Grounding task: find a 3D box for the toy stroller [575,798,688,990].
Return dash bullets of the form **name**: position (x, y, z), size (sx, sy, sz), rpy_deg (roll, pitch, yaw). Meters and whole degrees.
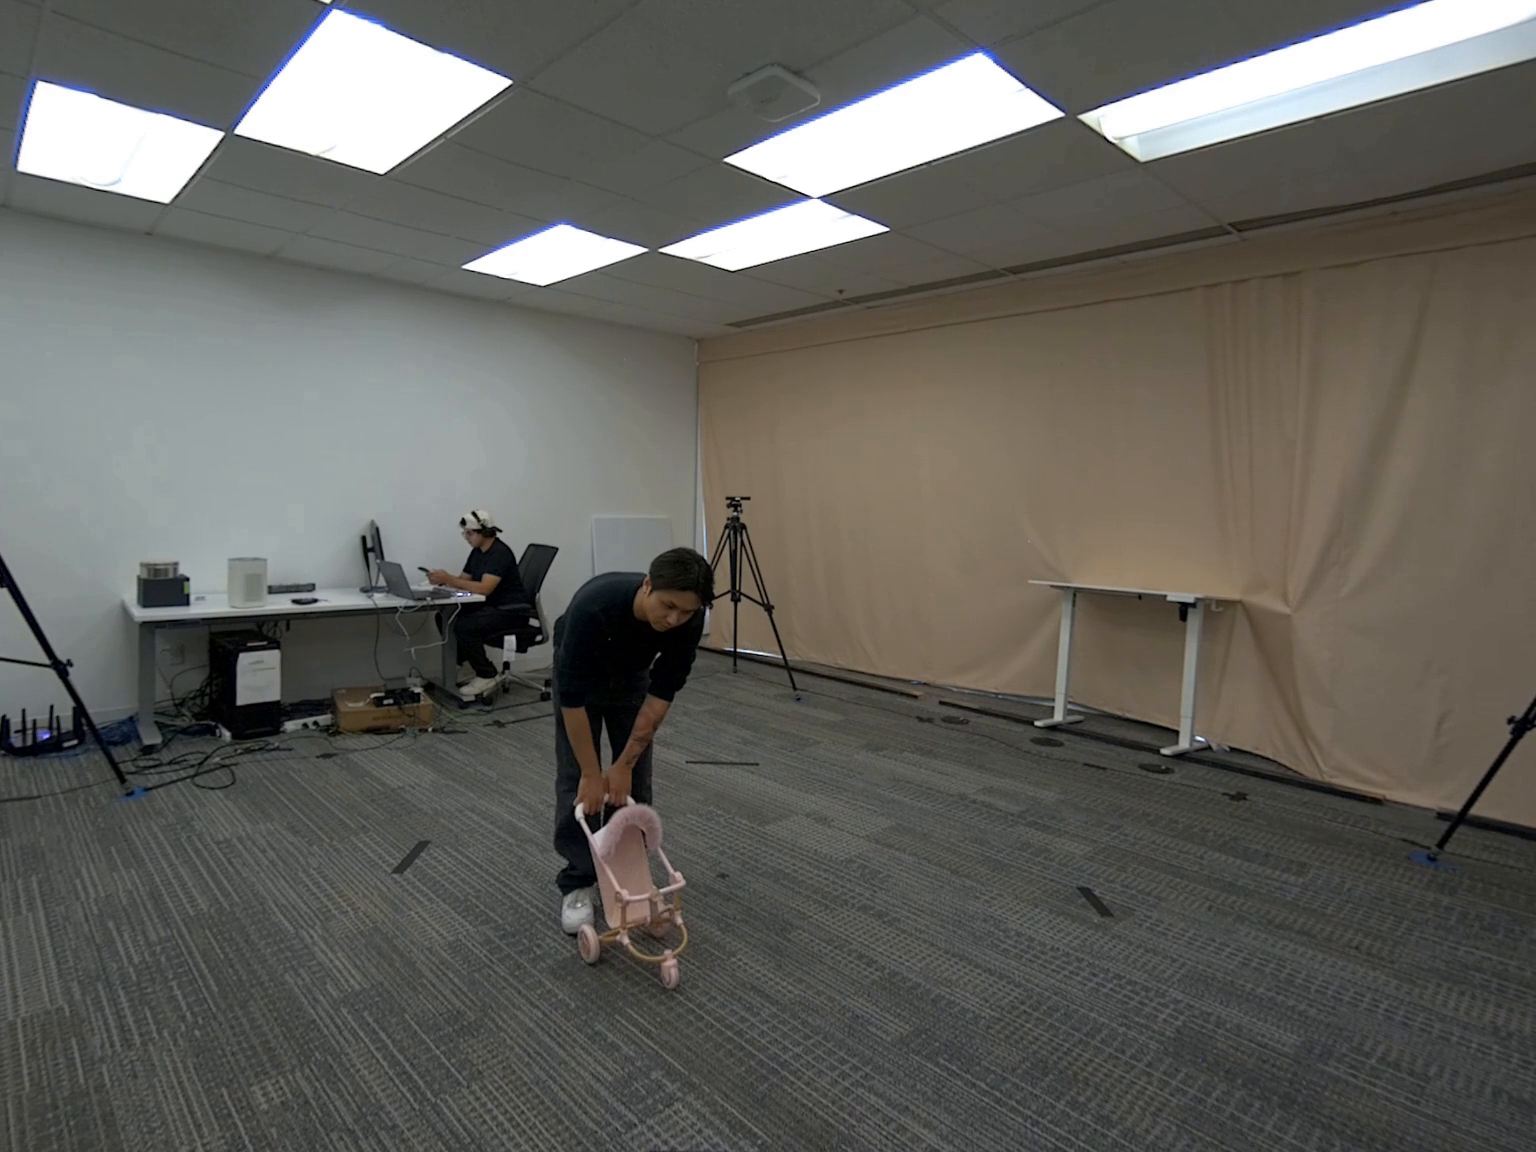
- **toy stroller**: position (-0.401, 0.929, 2.521), size (0.275, 0.539, 0.346), rpy_deg (-2, -11, -36)
